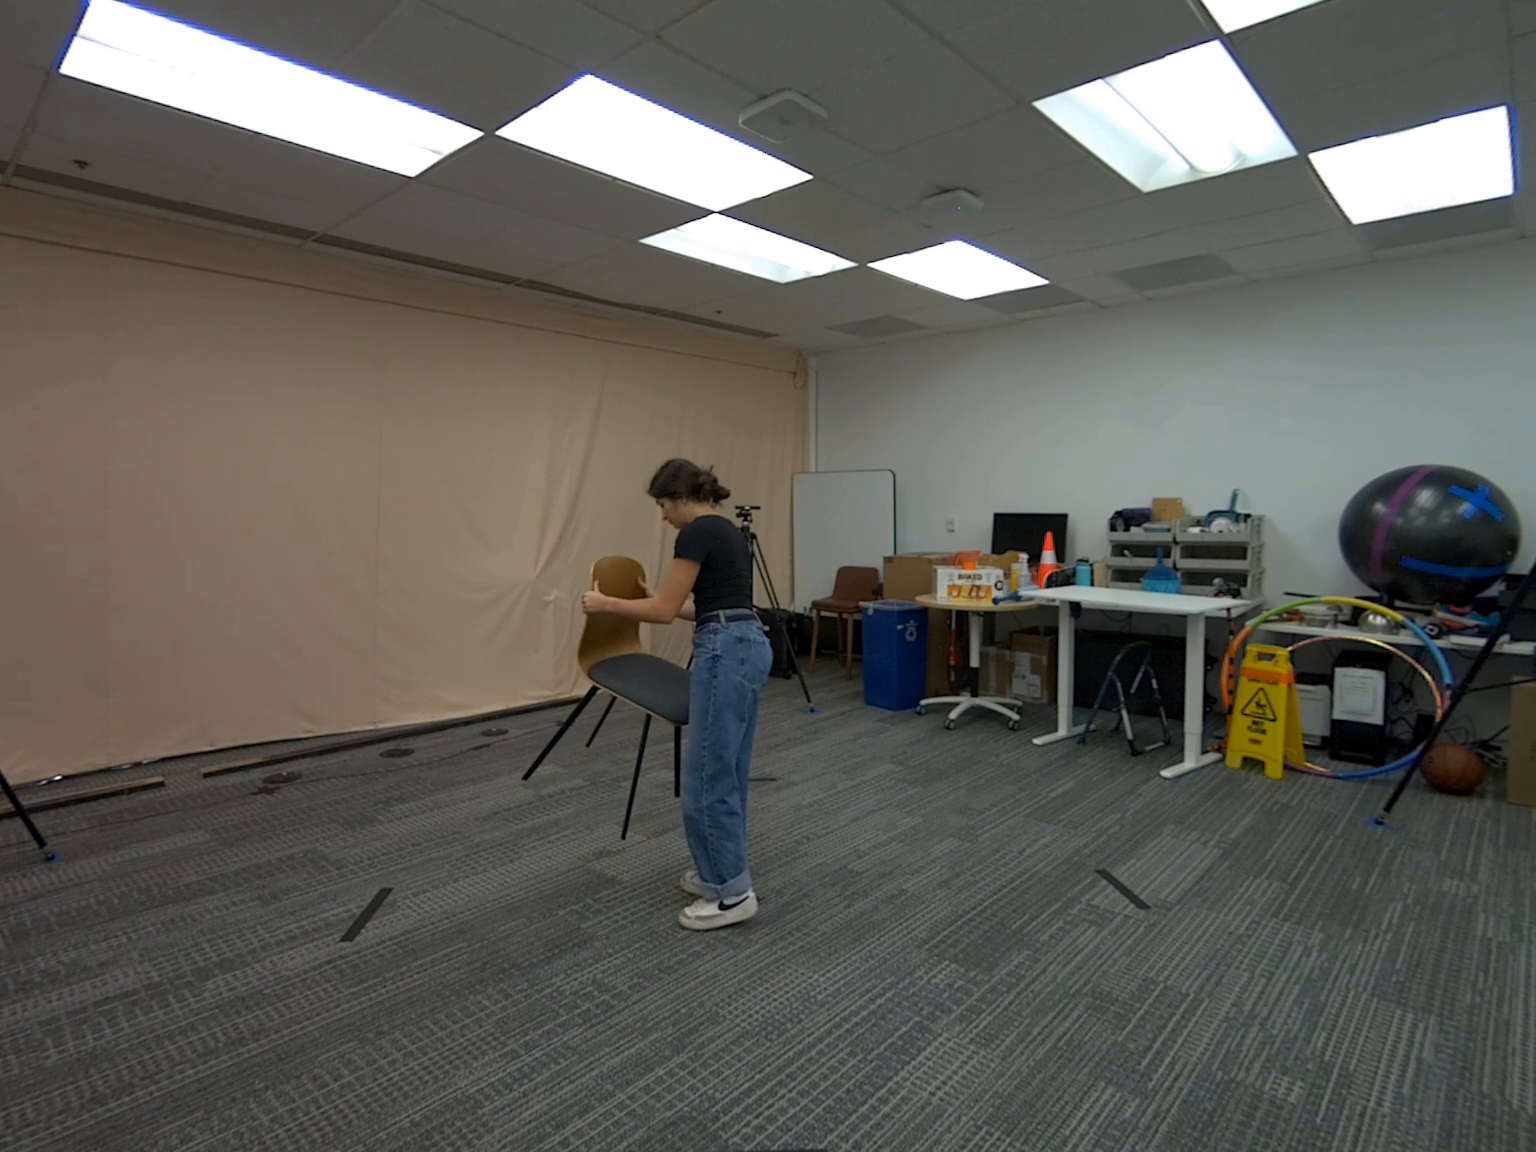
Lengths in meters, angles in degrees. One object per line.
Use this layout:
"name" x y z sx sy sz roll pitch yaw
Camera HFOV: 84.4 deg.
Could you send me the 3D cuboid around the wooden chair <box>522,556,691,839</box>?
"wooden chair" -0.478 0.426 3.110 0.535 0.874 0.469 19 11 19
